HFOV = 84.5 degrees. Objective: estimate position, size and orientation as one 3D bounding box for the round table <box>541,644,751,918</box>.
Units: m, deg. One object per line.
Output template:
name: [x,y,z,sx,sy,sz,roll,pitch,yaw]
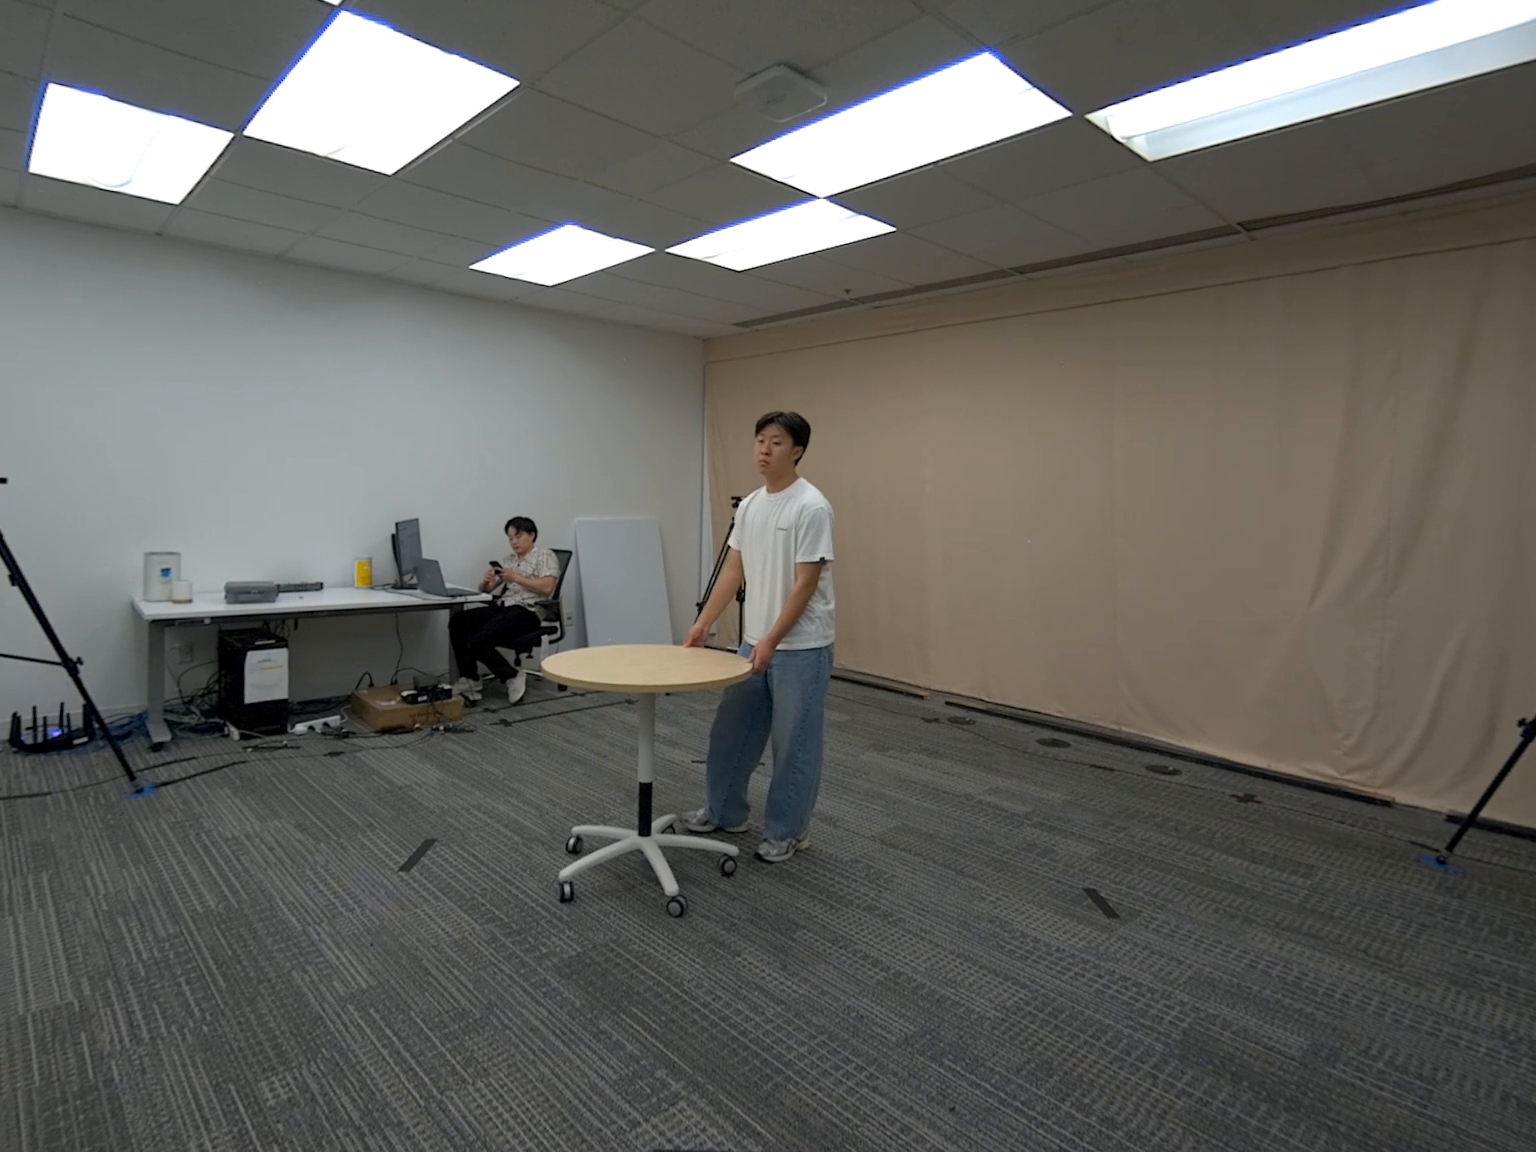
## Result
round table: [-0.450,0.712,3.094,0.763,0.792,0.766,1,4,-1]
